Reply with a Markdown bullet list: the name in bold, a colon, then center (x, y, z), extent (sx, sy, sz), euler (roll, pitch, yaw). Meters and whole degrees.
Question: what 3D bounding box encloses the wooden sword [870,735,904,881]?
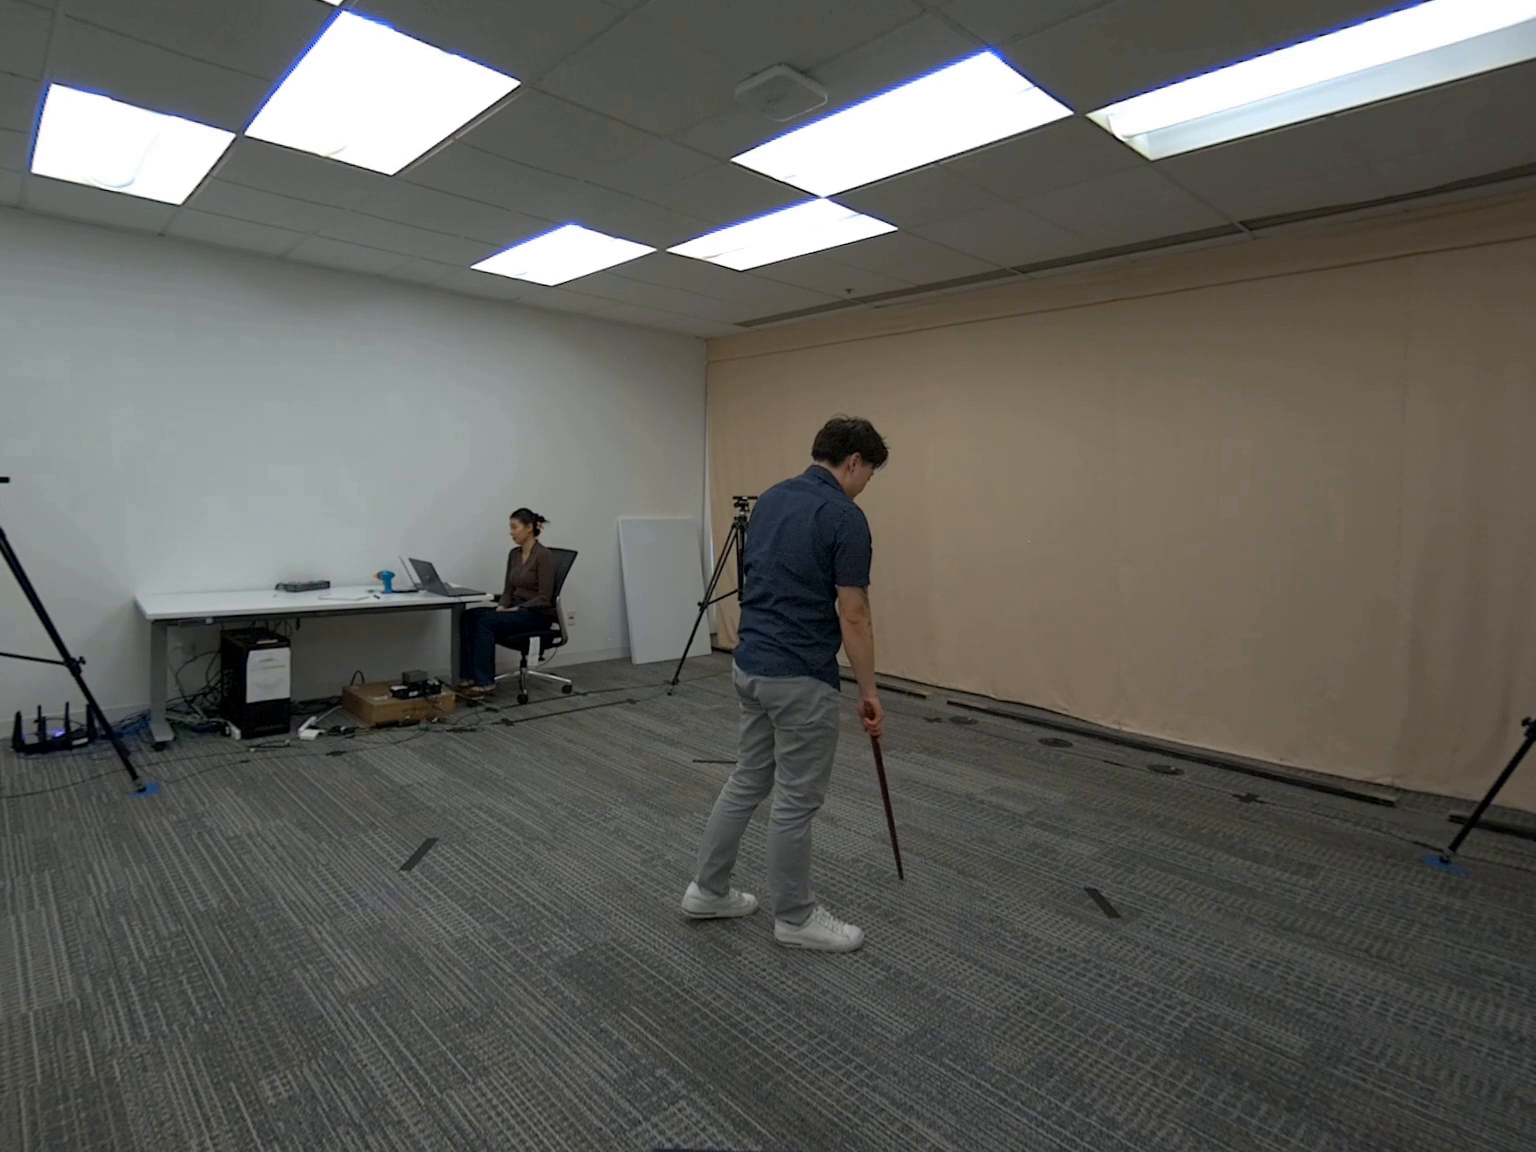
- **wooden sword**: center (0.386, 0.752, 2.786), extent (0.051, 0.997, 0.024), euler (-9, 41, 7)
